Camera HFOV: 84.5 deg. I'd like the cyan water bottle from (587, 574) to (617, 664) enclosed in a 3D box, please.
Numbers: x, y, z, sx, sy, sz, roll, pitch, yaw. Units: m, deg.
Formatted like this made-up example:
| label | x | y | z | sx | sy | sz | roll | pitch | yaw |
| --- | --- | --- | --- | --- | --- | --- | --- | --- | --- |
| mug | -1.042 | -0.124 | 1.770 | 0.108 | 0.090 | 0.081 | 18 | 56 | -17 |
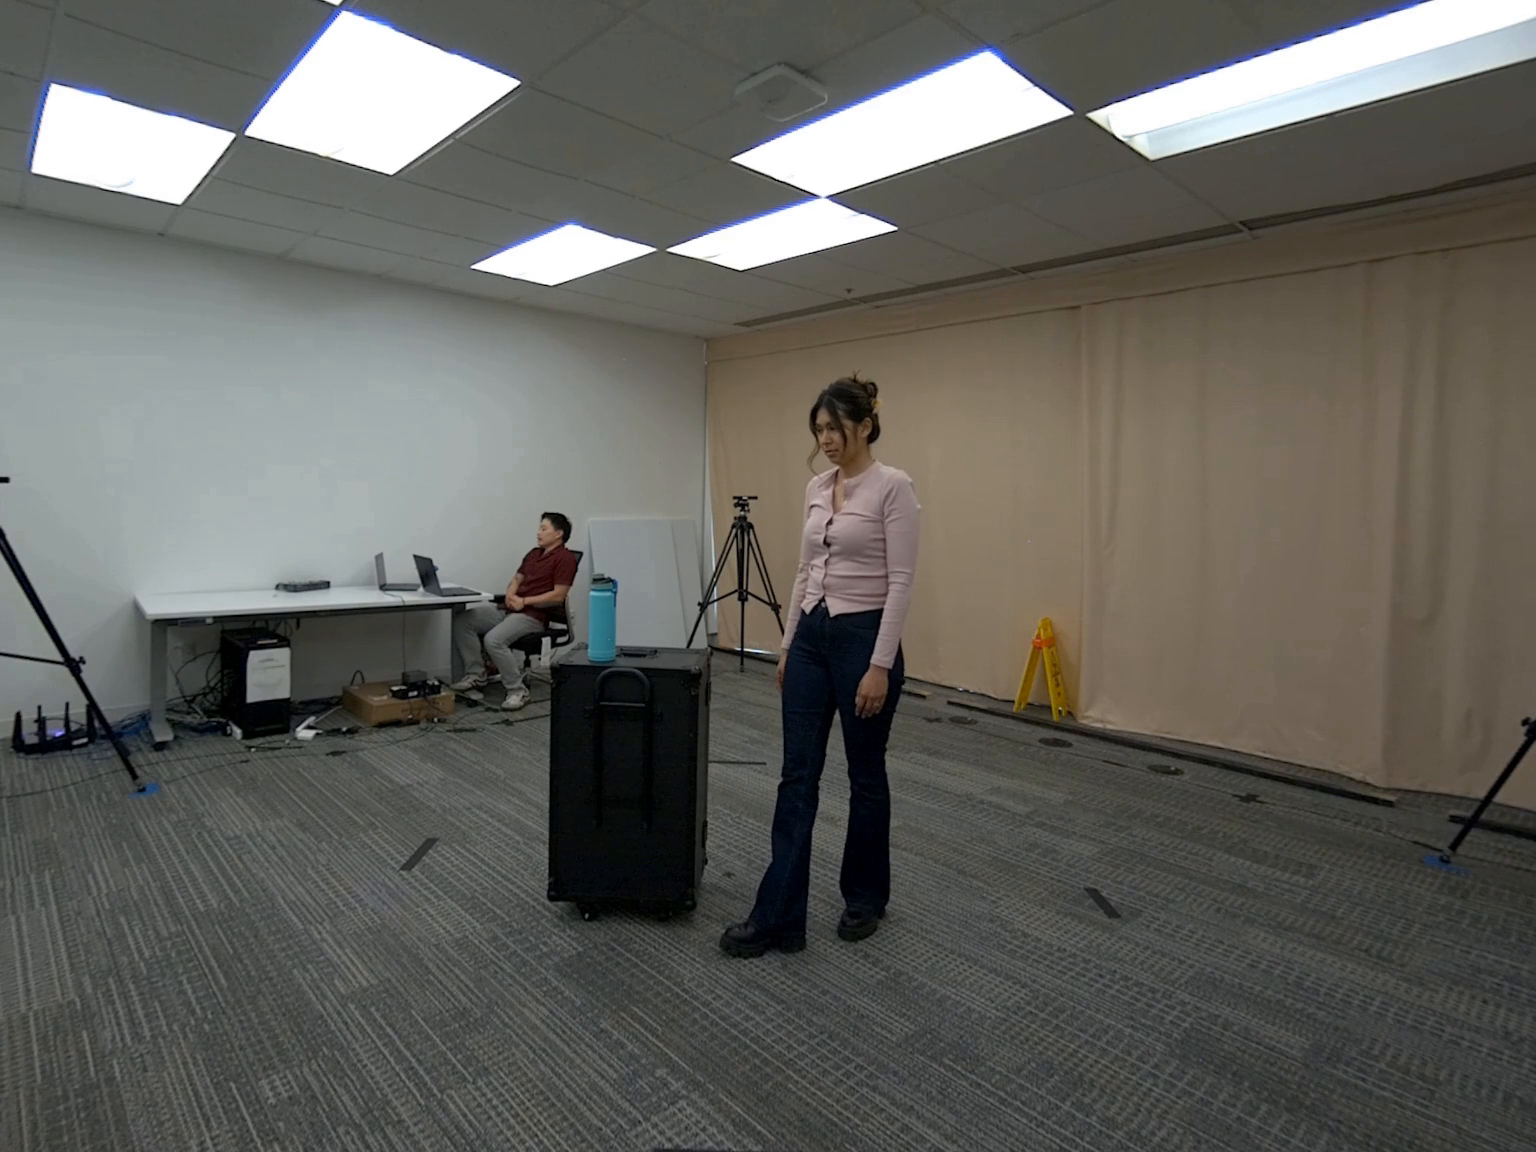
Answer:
| label | x | y | z | sx | sy | sz | roll | pitch | yaw |
| --- | --- | --- | --- | --- | --- | --- | --- | --- | --- |
| cyan water bottle | -0.546 | 0.134 | 2.775 | 0.092 | 0.284 | 0.092 | 2 | -1 | -1 |
